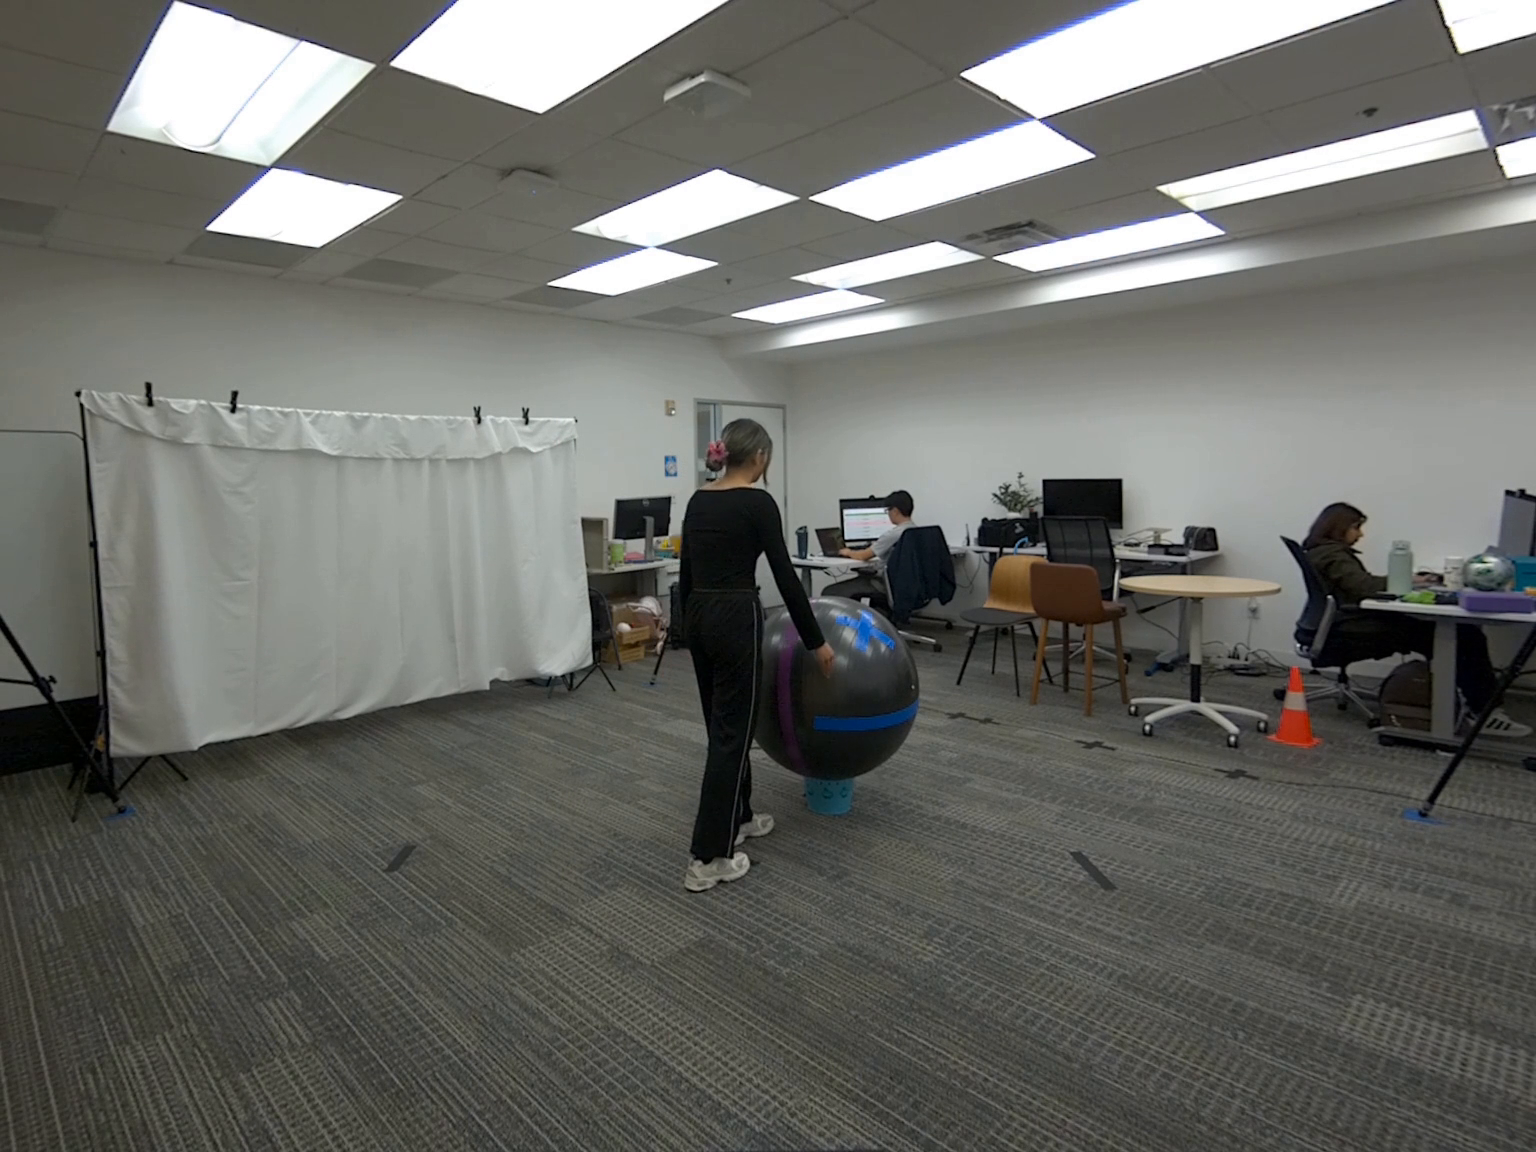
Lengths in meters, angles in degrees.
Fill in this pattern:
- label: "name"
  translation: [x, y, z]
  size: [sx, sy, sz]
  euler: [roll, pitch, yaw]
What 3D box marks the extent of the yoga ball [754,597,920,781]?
- label: "yoga ball"
  translation: [0.247, 0.467, 3.601]
  size: [0.757, 0.755, 0.762]
  euler: [-1, 5, -2]
